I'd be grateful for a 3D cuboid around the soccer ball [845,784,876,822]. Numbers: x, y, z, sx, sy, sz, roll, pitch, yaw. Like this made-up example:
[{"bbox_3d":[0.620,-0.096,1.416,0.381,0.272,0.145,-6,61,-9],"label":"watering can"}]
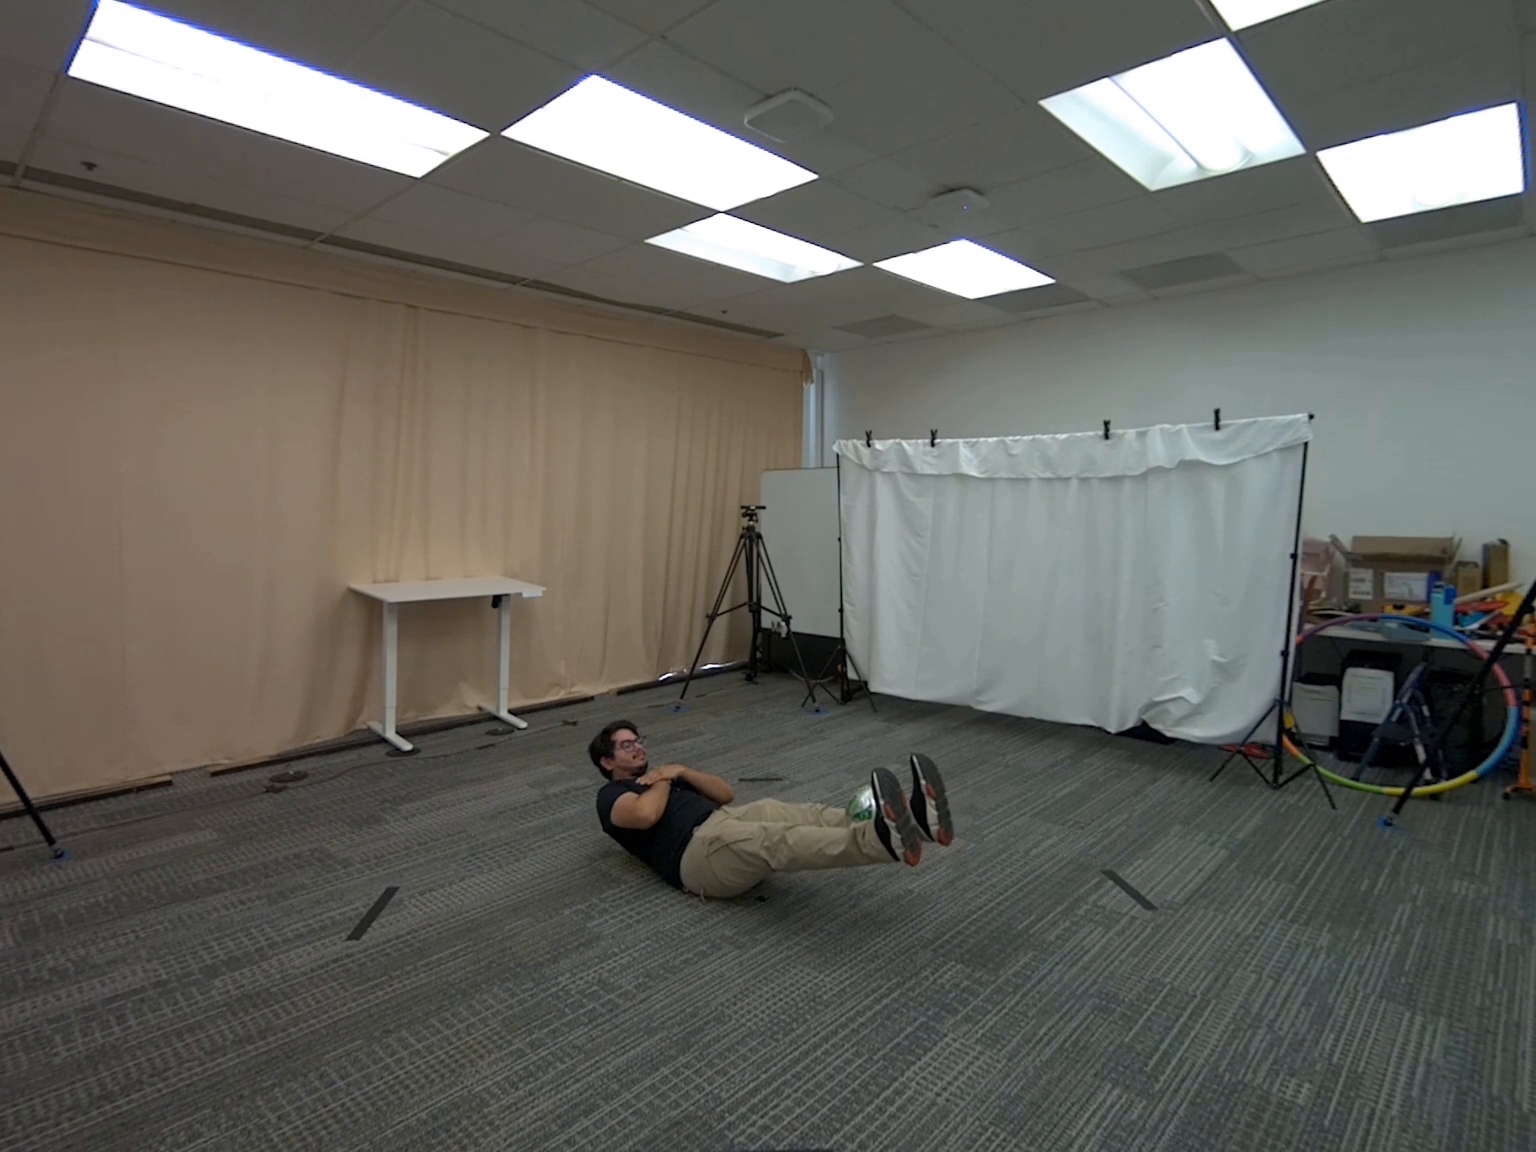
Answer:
[{"bbox_3d":[0.350,0.774,2.688,0.187,0.187,0.188,0,4,-2],"label":"soccer ball"}]
